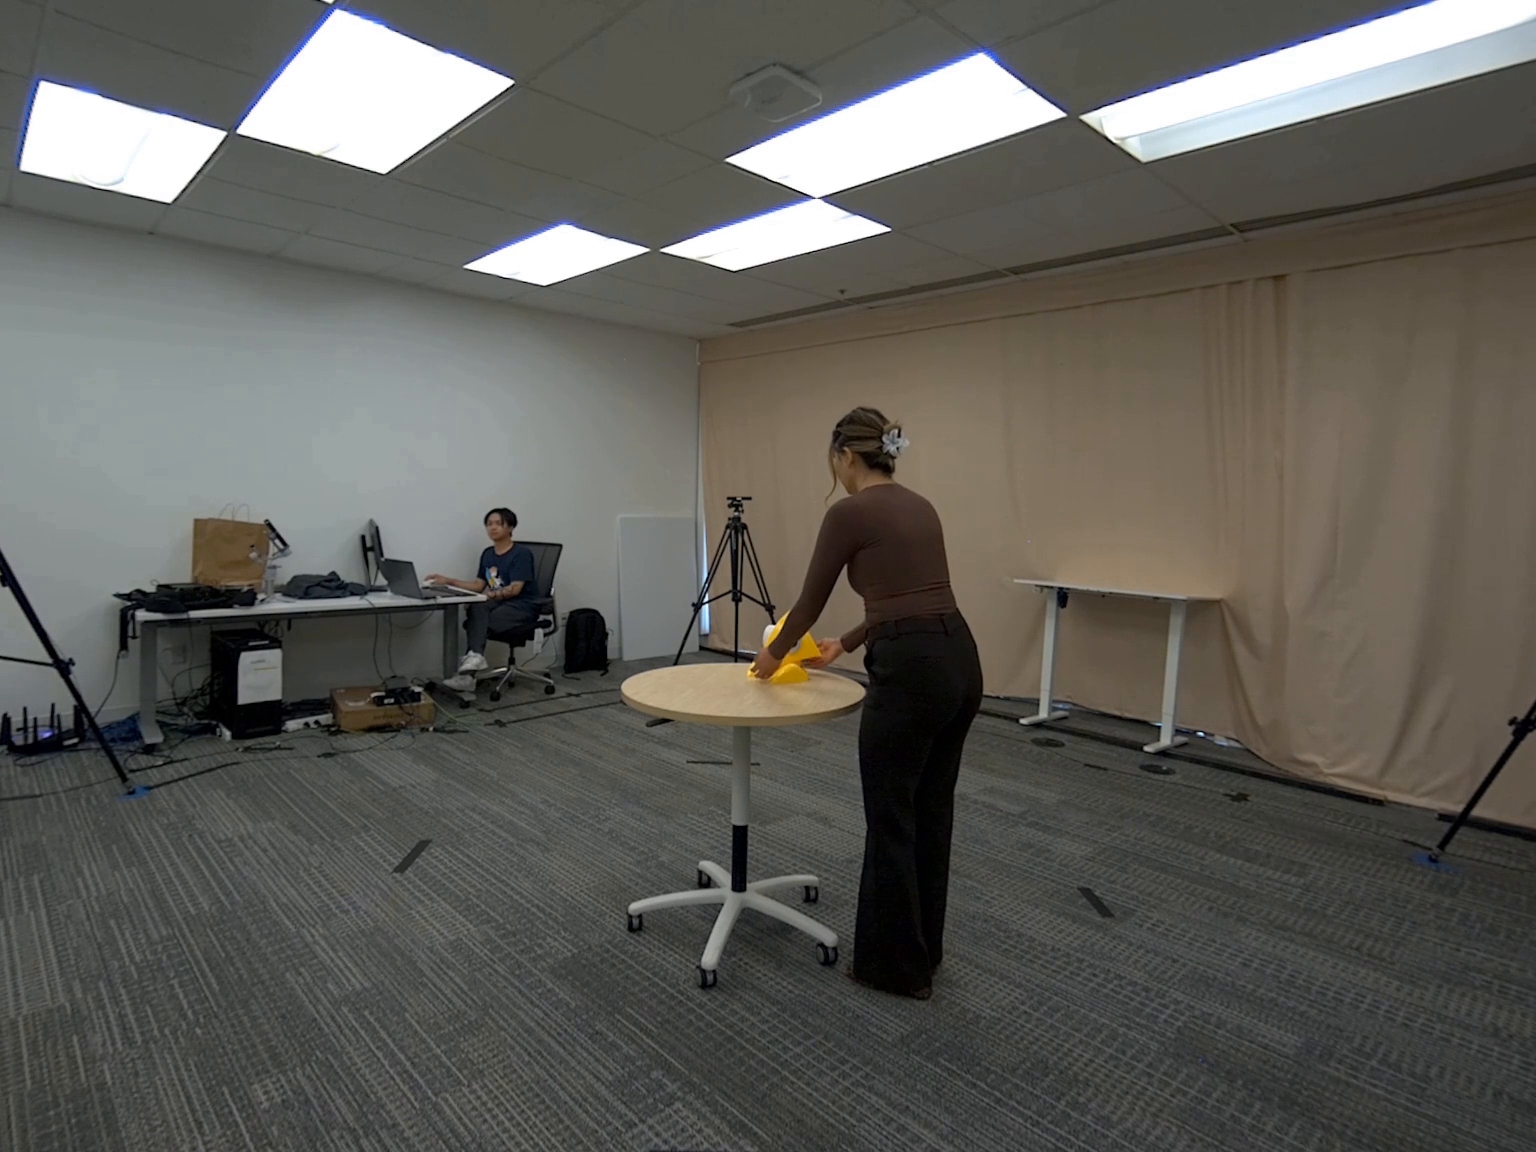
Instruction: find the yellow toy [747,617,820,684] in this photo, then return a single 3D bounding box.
[{"bbox_3d":[0.043,0.224,2.818,0.189,0.230,0.210,-3,5,-37],"label":"yellow toy"}]
